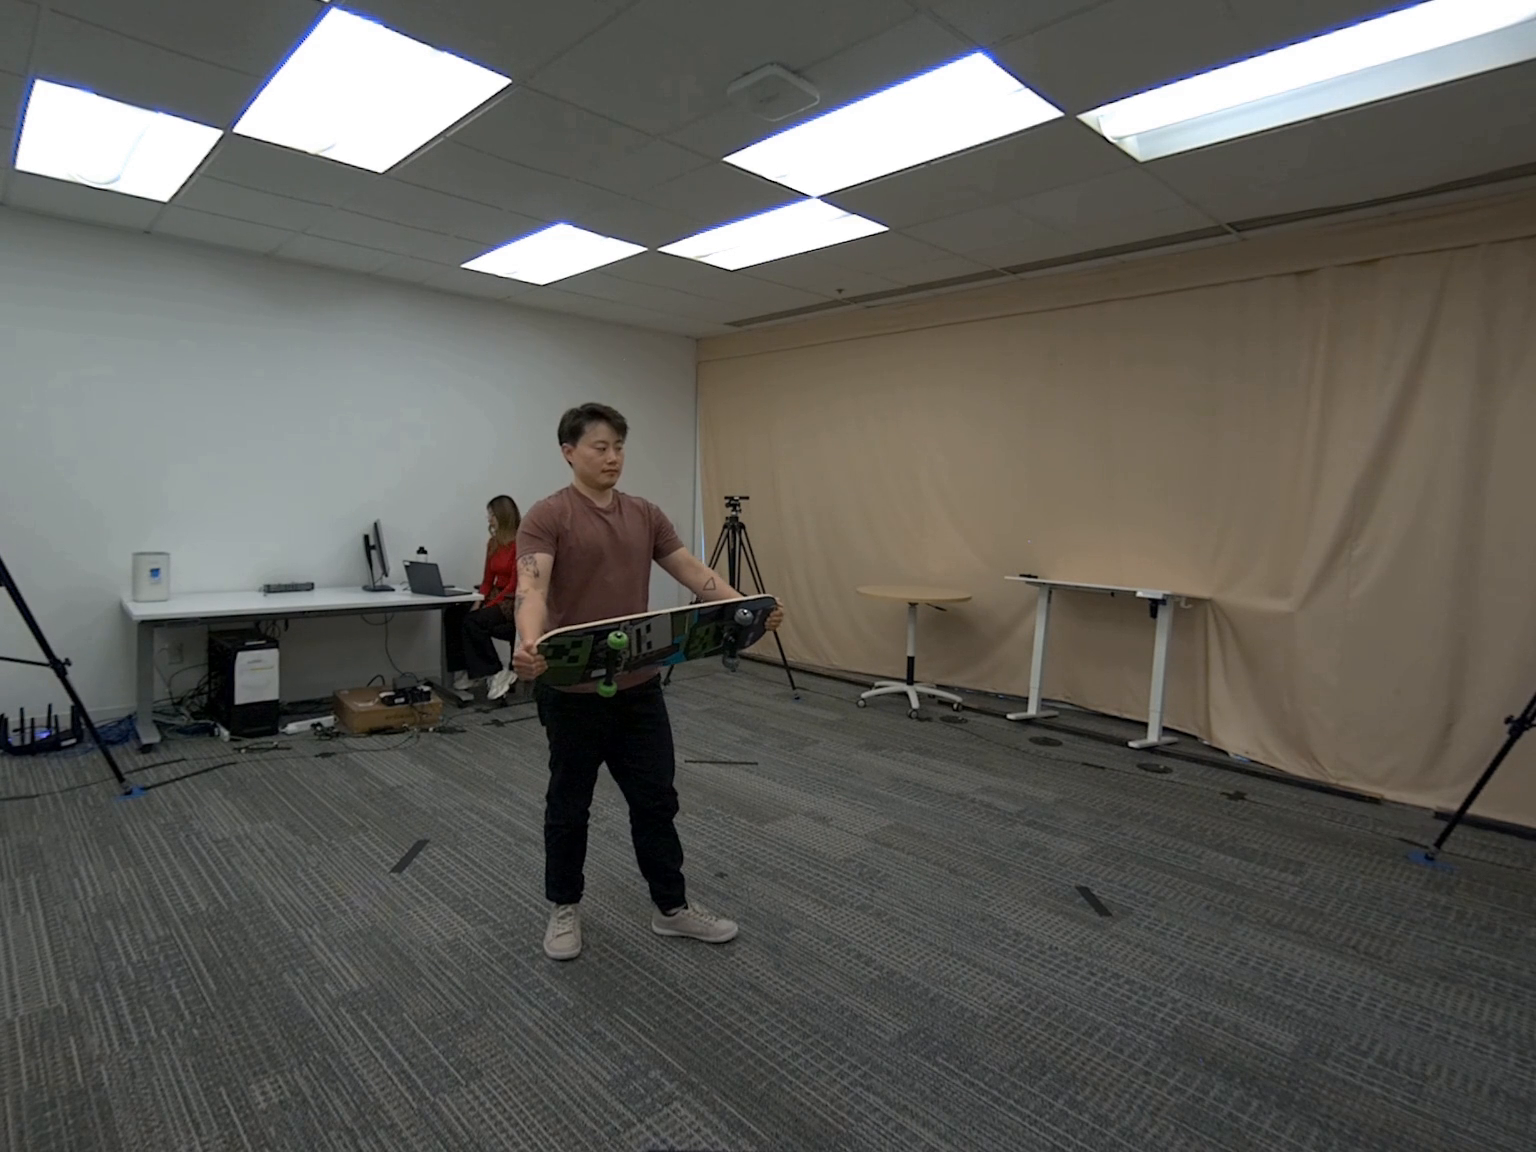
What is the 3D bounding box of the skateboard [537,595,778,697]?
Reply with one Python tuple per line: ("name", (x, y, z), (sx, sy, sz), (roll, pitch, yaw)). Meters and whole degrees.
("skateboard", (-0.260, 0.183, 2.280), (0.771, 0.191, 0.114), (-10, 40, -36))
